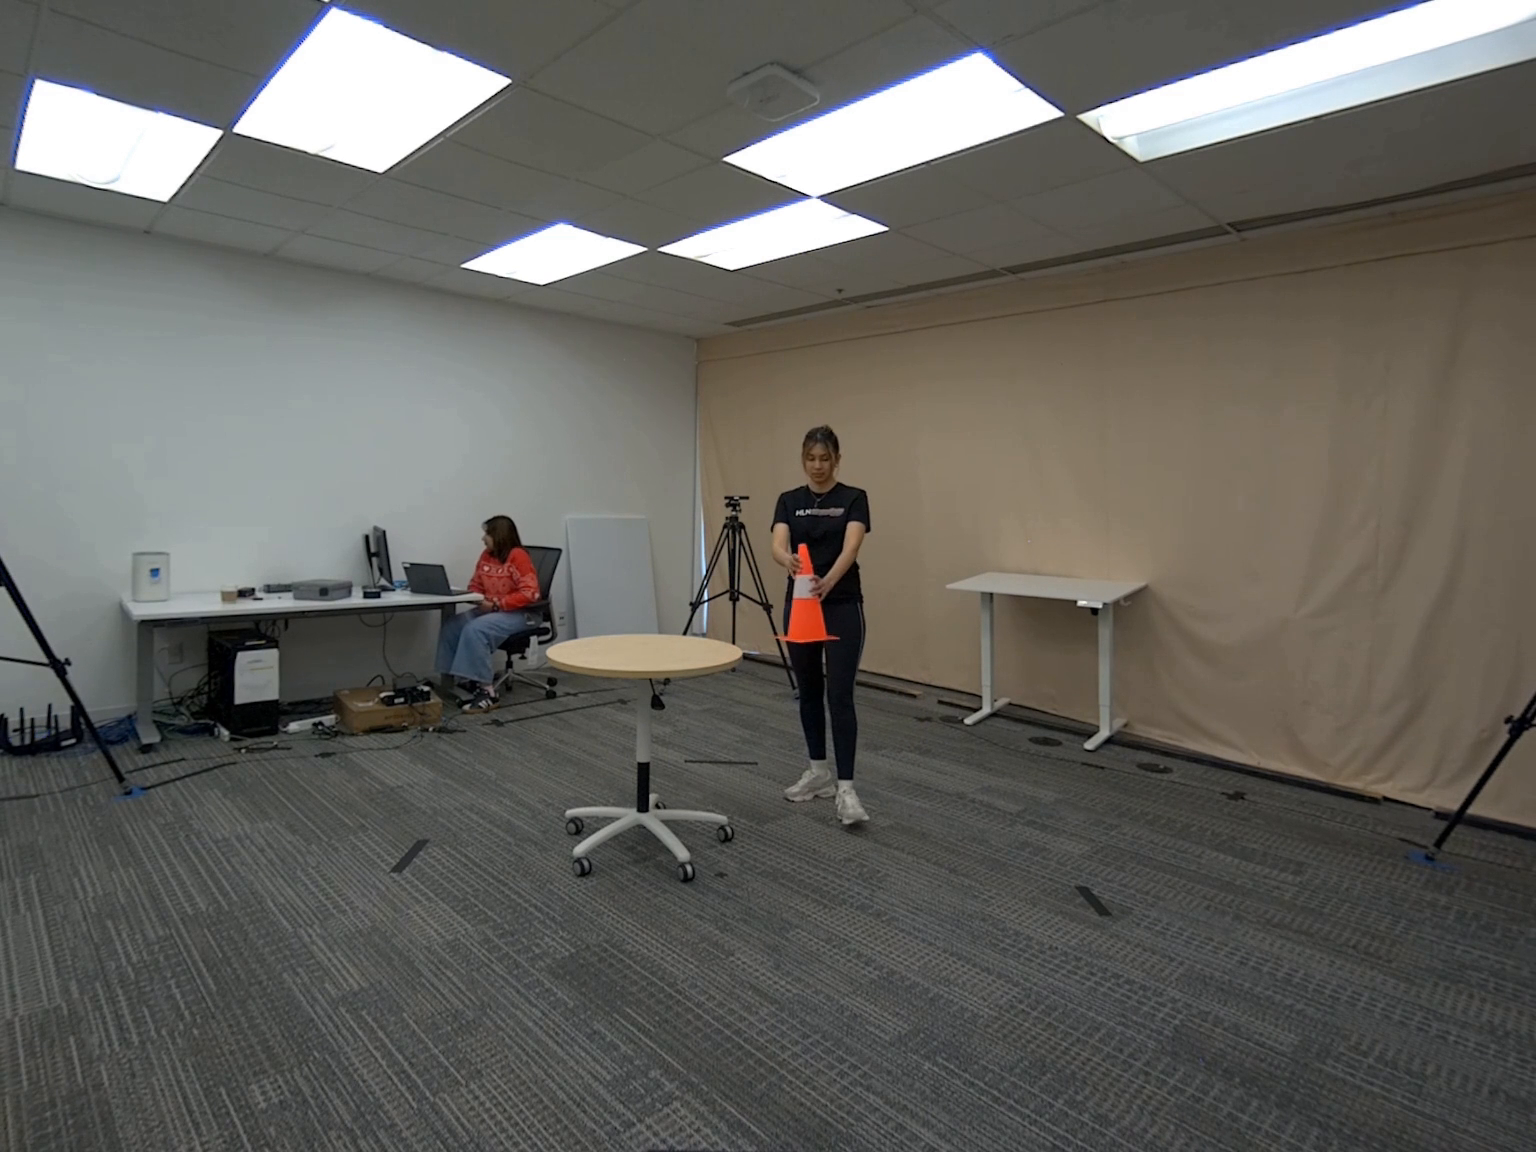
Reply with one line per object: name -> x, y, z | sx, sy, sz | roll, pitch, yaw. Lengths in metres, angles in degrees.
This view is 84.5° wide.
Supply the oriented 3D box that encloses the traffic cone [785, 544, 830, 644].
traffic cone -> 0.132, 0.063, 3.406 | 0.201, 0.383, 0.208 | -5, 2, -36
